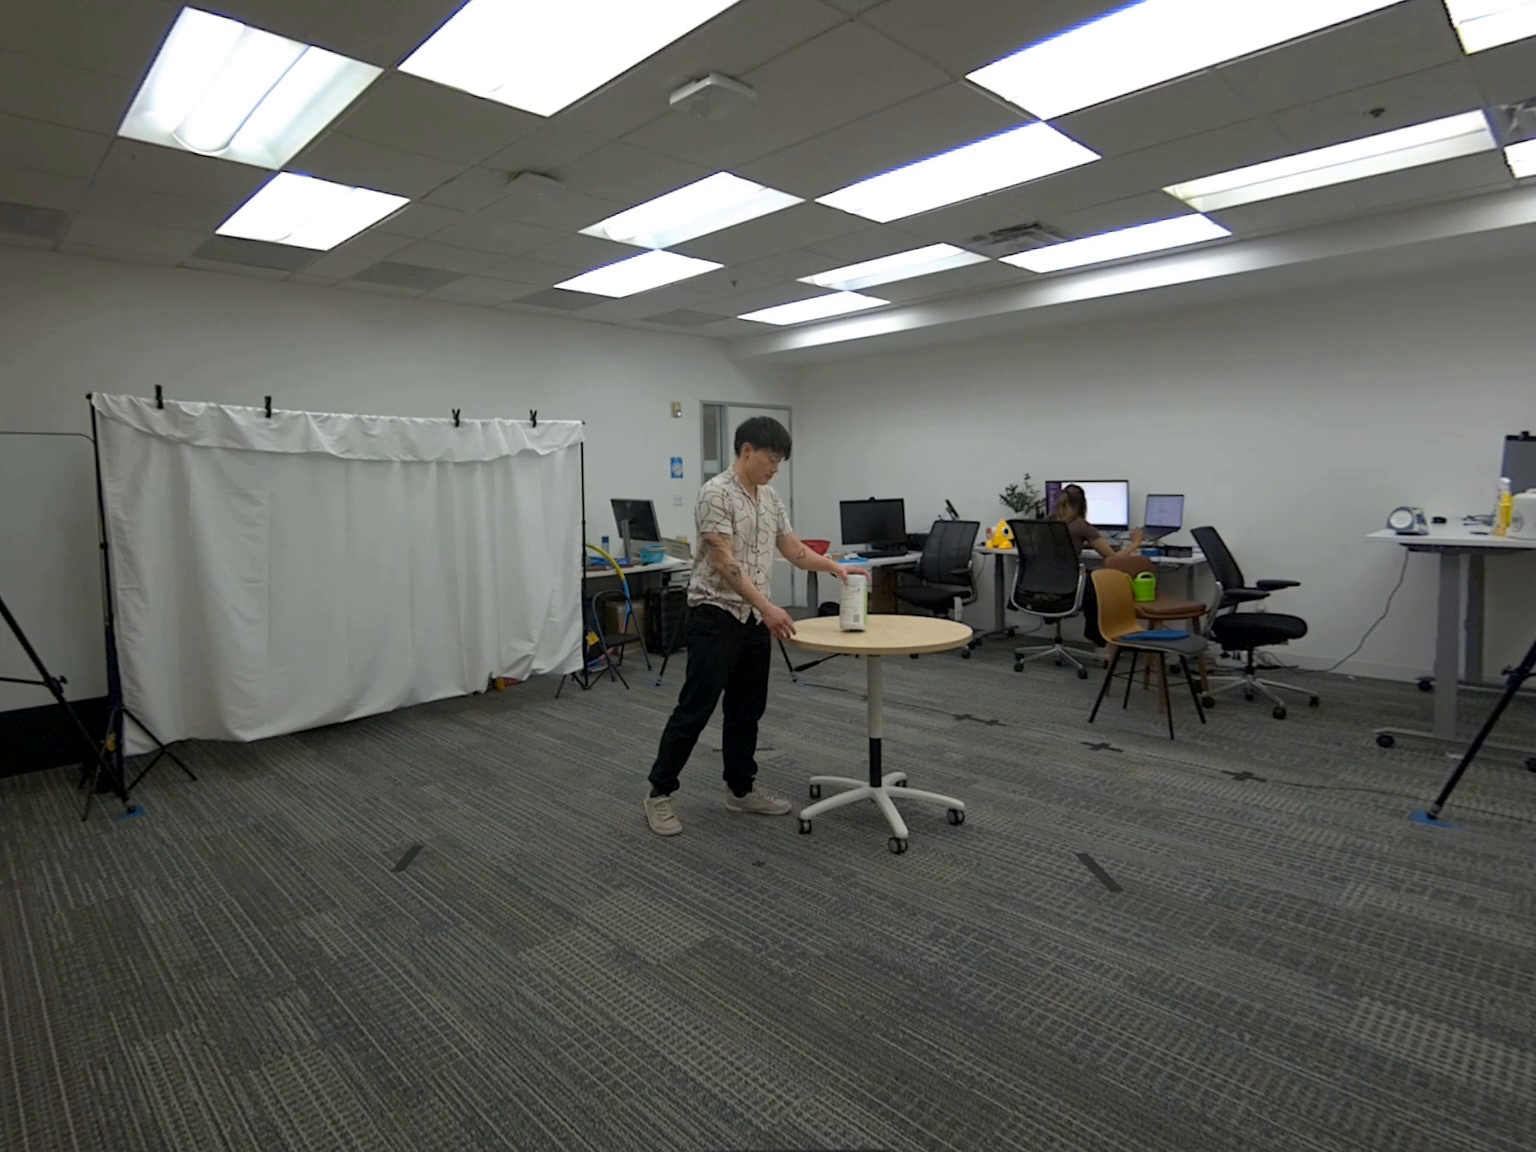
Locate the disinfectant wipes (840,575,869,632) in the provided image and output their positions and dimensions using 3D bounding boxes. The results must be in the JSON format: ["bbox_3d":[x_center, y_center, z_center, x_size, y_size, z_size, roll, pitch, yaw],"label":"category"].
[{"bbox_3d":[0.341,0.109,3.424,0.118,0.218,0.117,3,-3,-2],"label":"disinfectant wipes"}]
